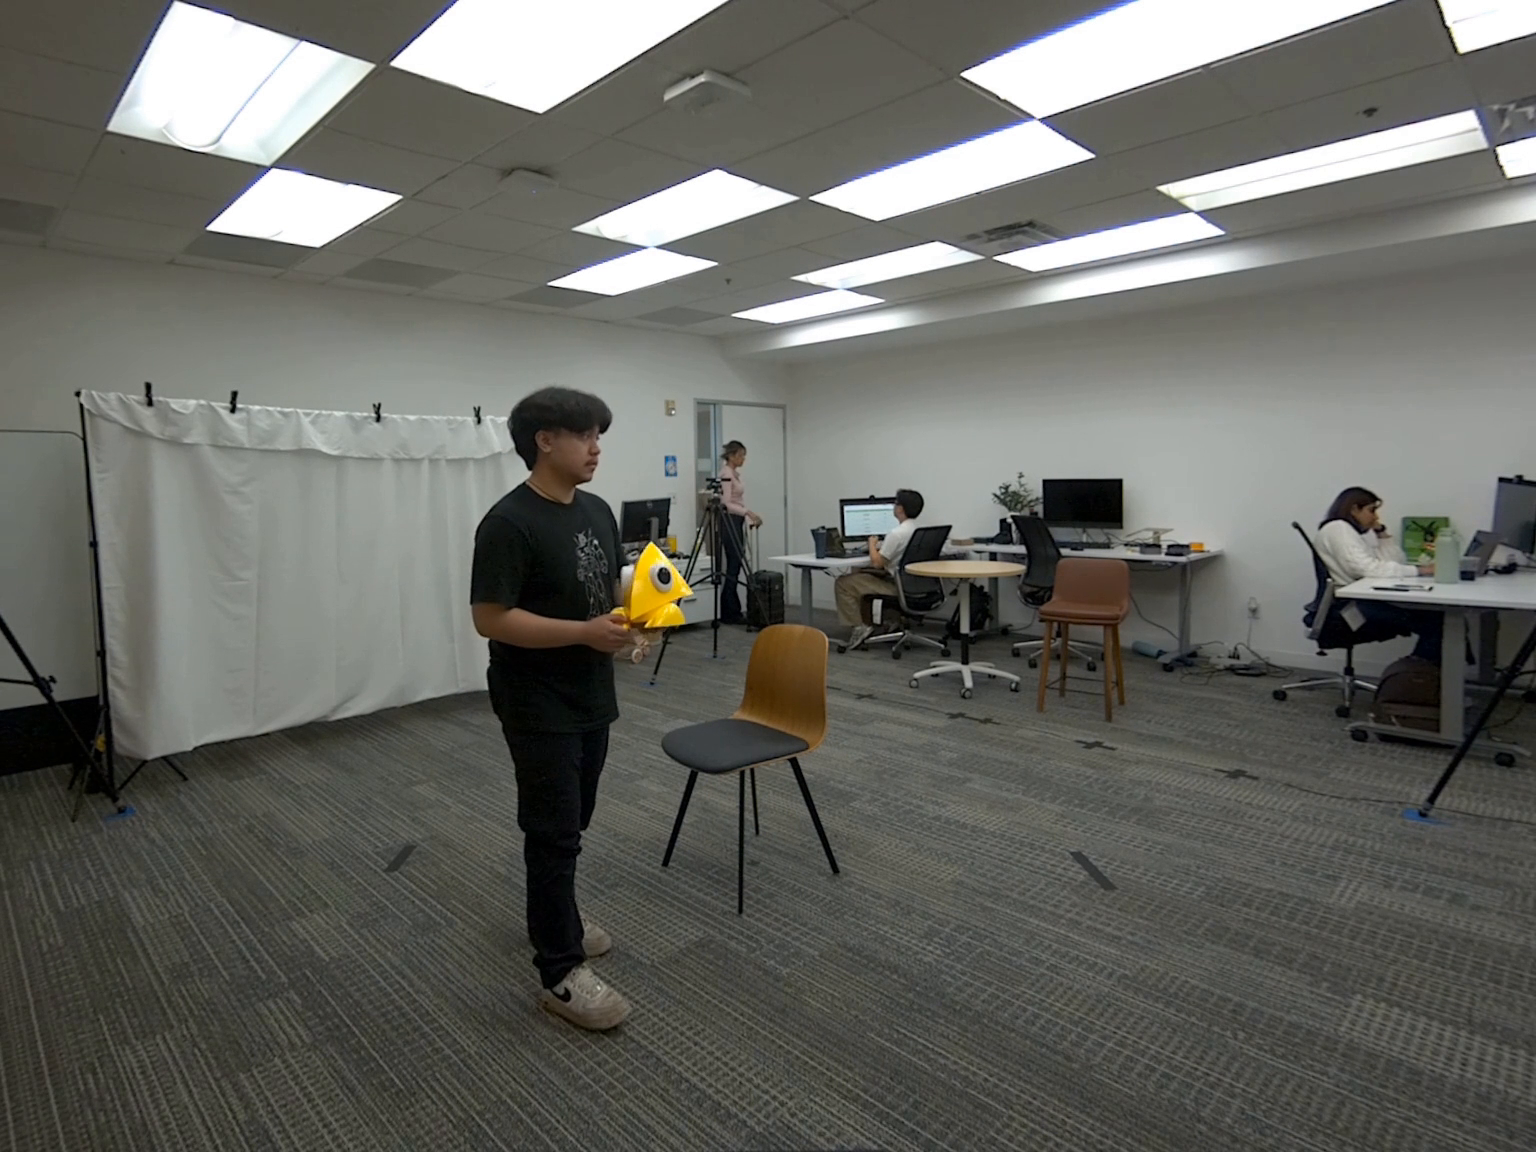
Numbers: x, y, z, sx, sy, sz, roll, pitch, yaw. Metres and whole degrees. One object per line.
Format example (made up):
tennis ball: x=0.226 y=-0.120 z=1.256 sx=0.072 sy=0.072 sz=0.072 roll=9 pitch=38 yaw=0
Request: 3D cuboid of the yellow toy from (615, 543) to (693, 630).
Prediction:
yellow toy: x=-0.331 y=0.019 z=2.289 sx=0.208 sy=0.232 sz=0.189 roll=-5 pitch=-4 yaw=17
